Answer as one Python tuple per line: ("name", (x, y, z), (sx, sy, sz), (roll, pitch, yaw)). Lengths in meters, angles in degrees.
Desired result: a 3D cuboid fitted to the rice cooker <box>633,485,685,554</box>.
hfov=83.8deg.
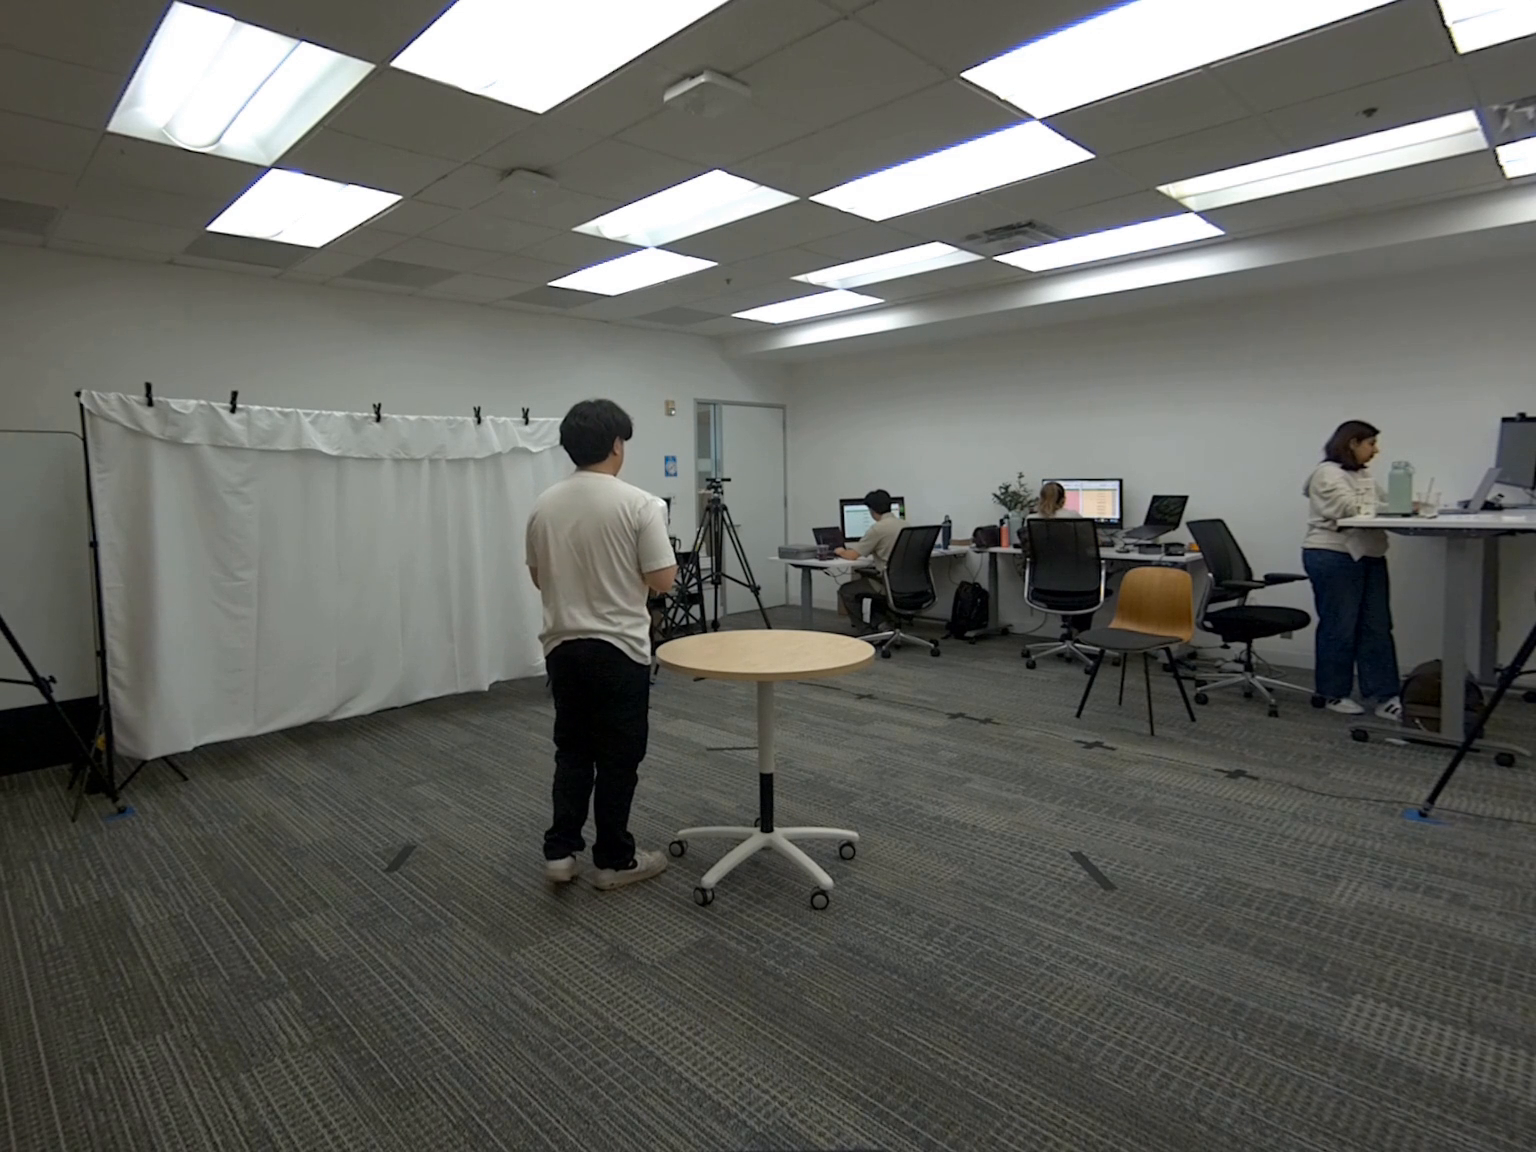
("rice cooker", (-0.470, -0.197, 3.180), (0.223, 0.230, 0.217), (6, 17, 29))
